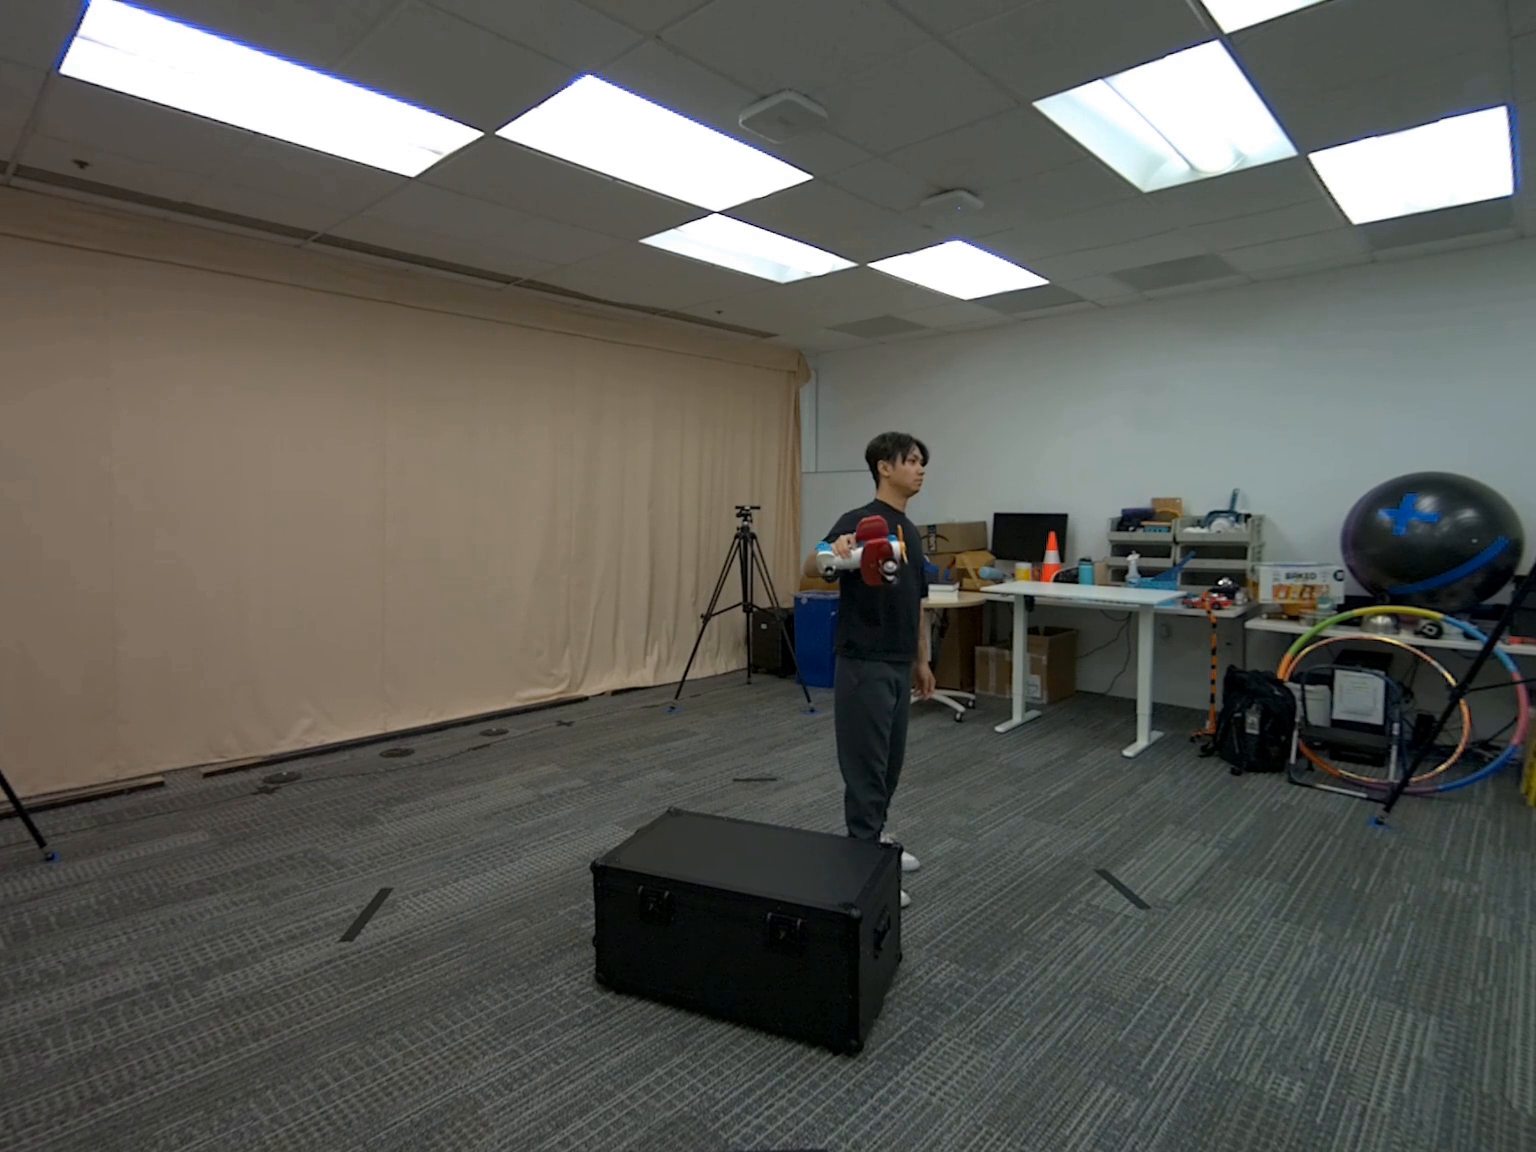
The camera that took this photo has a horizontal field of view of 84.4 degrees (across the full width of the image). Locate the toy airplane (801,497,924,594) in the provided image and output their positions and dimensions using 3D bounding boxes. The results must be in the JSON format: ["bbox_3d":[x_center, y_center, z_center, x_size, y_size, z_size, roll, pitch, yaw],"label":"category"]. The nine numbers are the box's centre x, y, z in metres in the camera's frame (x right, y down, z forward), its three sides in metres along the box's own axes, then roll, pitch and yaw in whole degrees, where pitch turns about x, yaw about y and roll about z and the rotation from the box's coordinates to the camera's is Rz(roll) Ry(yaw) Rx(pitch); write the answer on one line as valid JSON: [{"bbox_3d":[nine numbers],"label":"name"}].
[{"bbox_3d":[0.274,-0.067,2.489,0.255,0.158,0.252,17,-32,-15],"label":"toy airplane"}]
